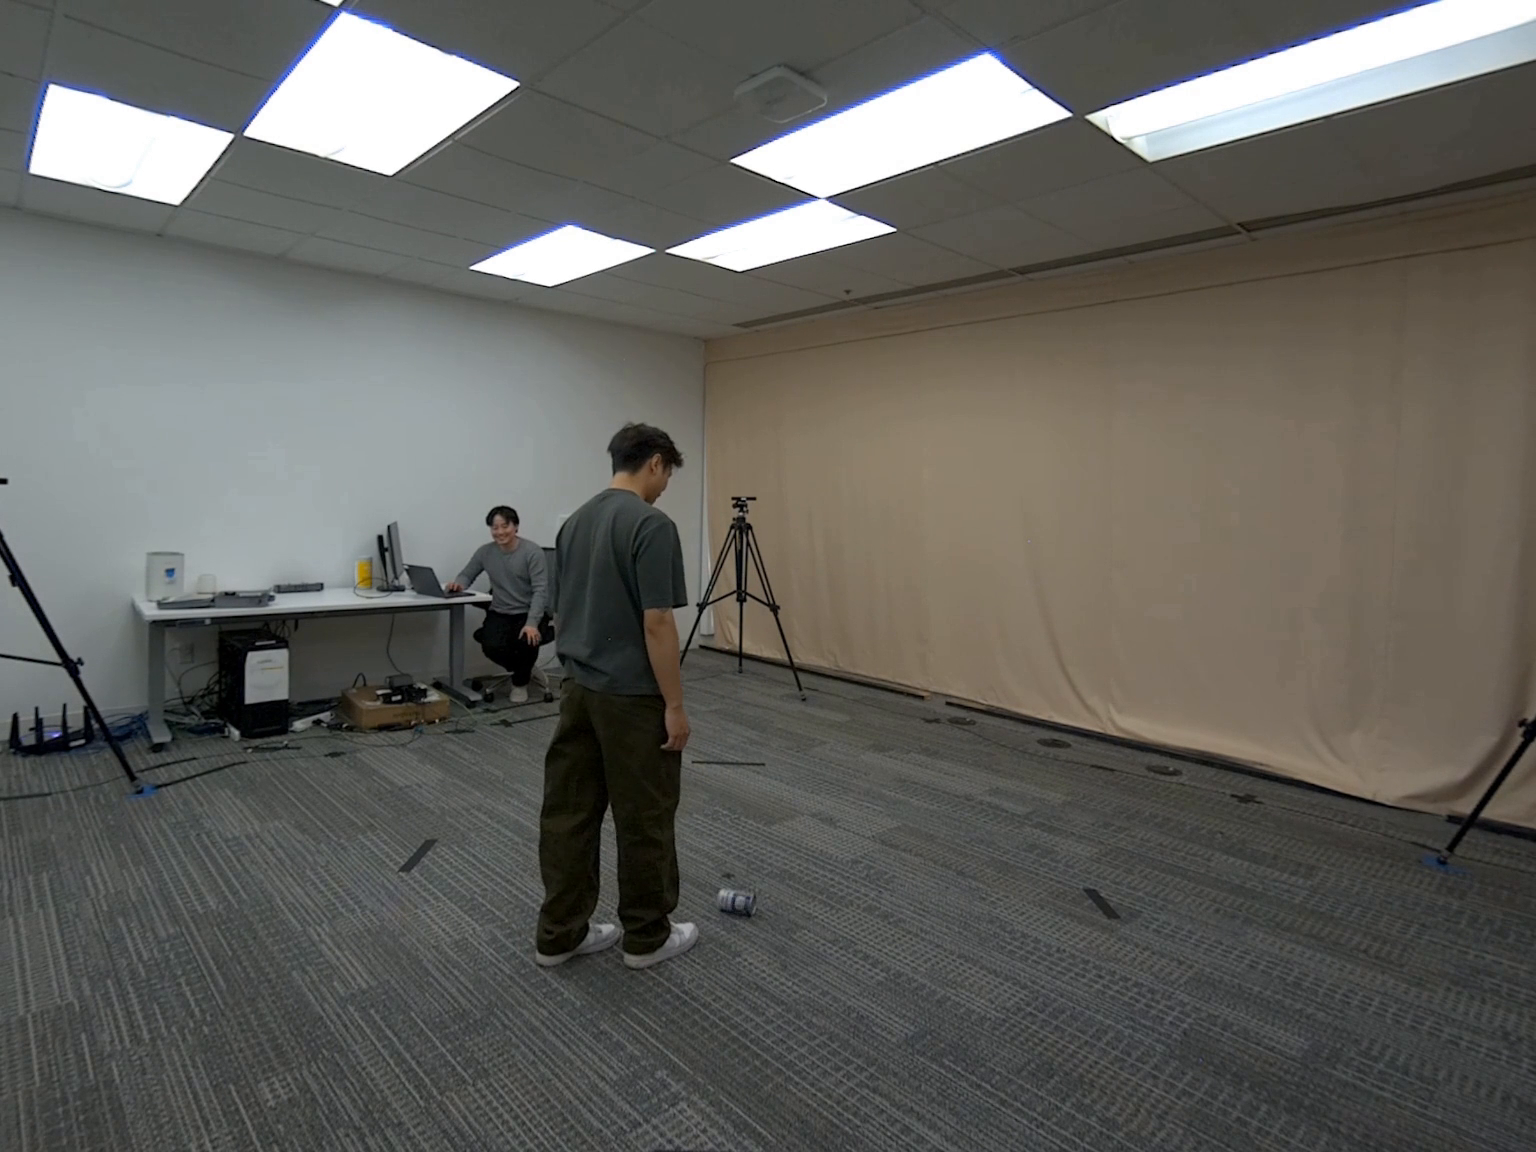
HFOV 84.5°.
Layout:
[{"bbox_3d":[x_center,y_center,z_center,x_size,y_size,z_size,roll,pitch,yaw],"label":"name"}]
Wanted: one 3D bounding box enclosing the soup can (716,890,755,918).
[{"bbox_3d":[-0.119,1.121,2.805,0.122,0.067,0.067,0,4,5],"label":"soup can"}]
